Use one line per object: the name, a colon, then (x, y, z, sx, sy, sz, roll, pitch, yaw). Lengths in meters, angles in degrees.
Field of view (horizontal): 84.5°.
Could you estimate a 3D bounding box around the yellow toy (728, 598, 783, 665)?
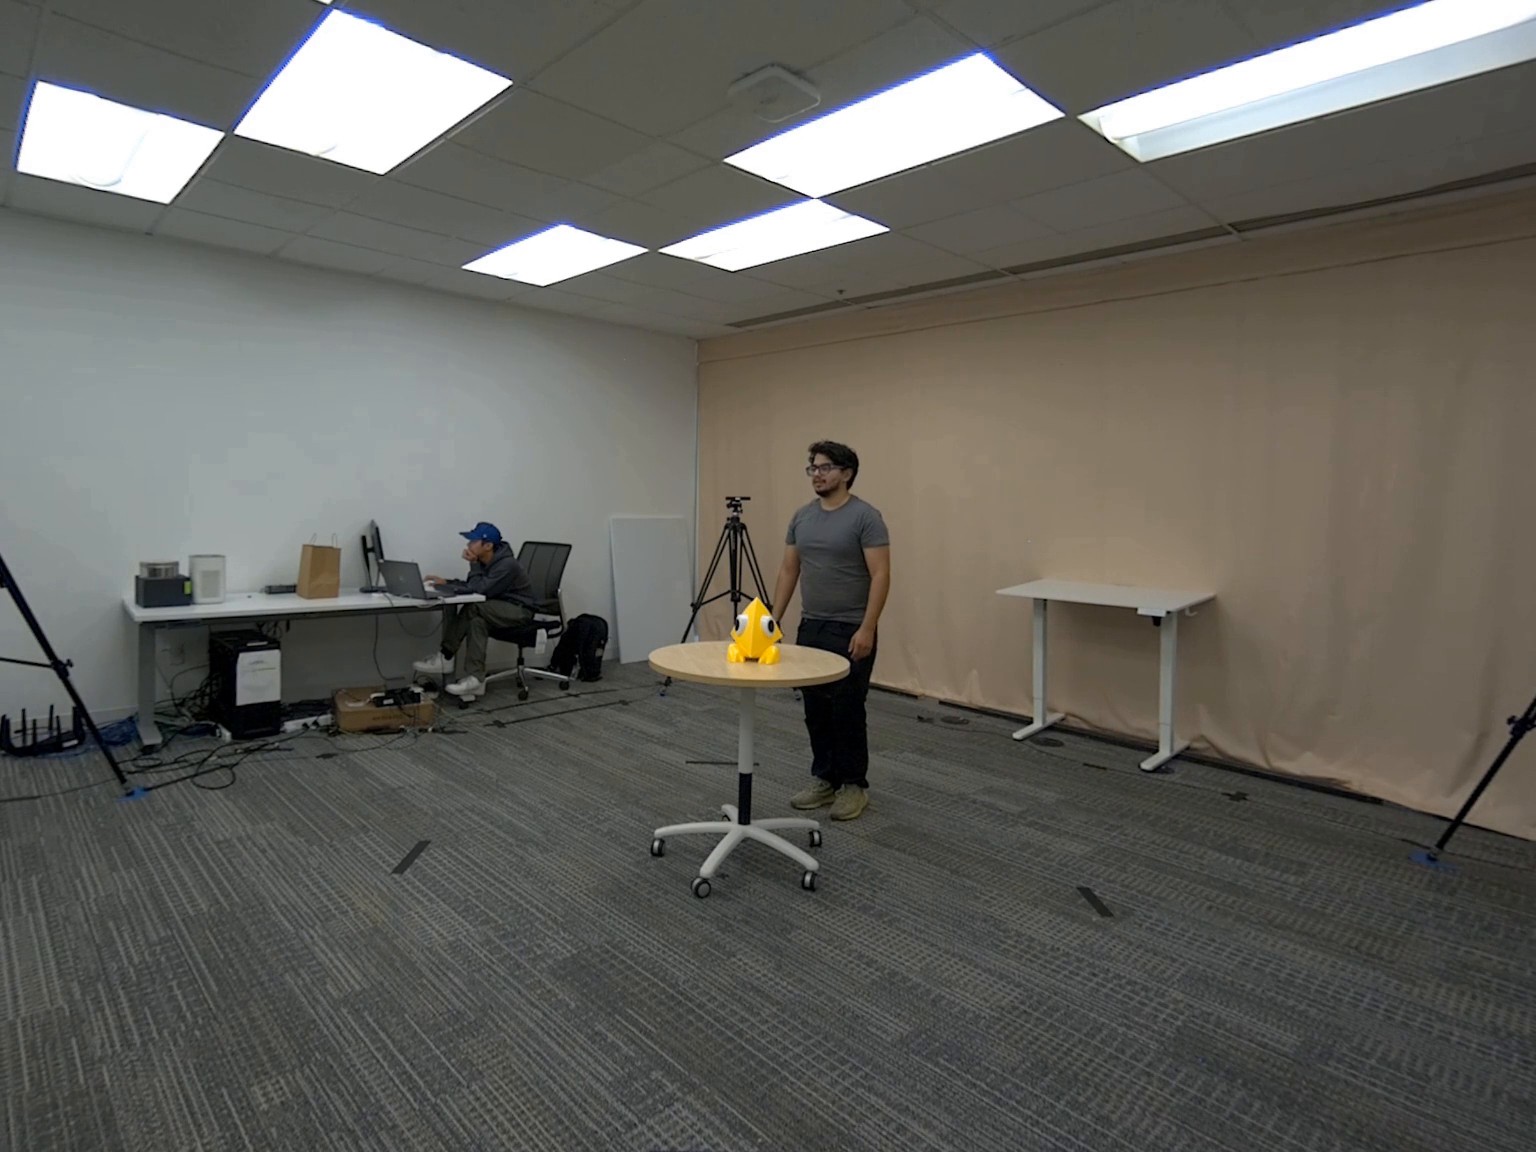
yellow toy: (-0.060, 0.203, 3.195, 0.206, 0.230, 0.192, 2, 4, 7)
